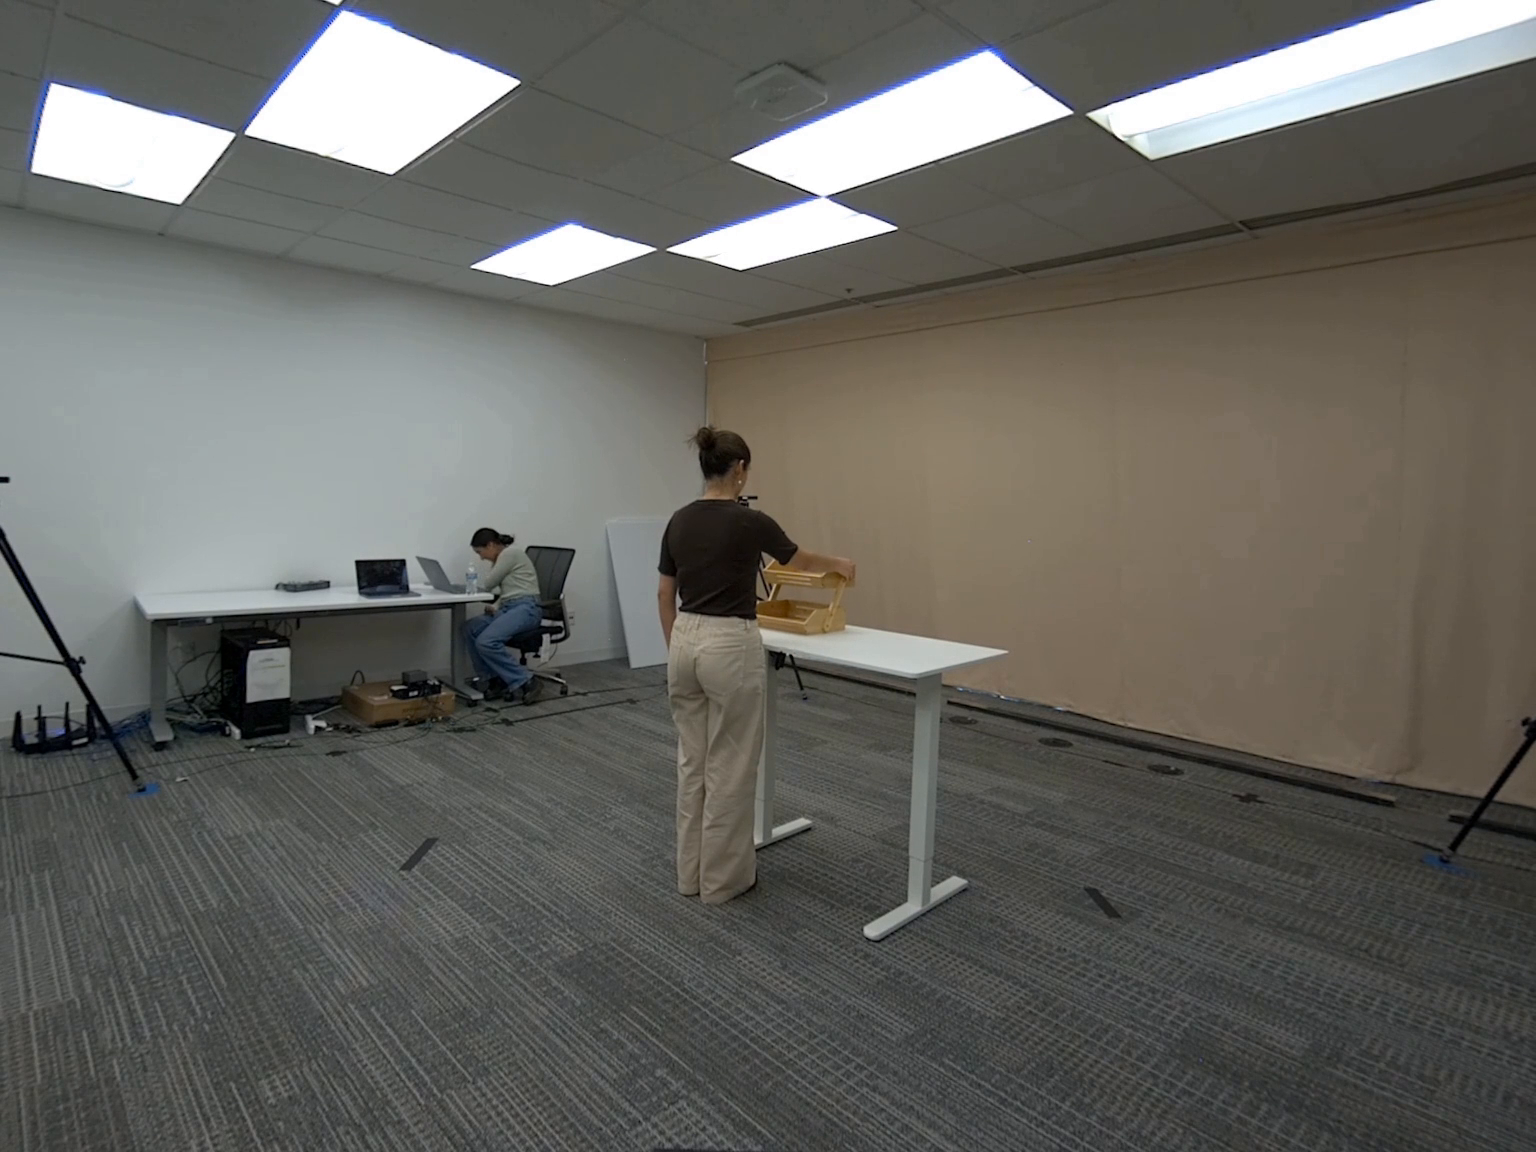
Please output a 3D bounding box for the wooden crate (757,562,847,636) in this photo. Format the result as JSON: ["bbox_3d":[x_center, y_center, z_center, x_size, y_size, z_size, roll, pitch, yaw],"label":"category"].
[{"bbox_3d":[0.121,0.073,3.328,0.333,0.272,0.295,7,5,42],"label":"wooden crate"}]
